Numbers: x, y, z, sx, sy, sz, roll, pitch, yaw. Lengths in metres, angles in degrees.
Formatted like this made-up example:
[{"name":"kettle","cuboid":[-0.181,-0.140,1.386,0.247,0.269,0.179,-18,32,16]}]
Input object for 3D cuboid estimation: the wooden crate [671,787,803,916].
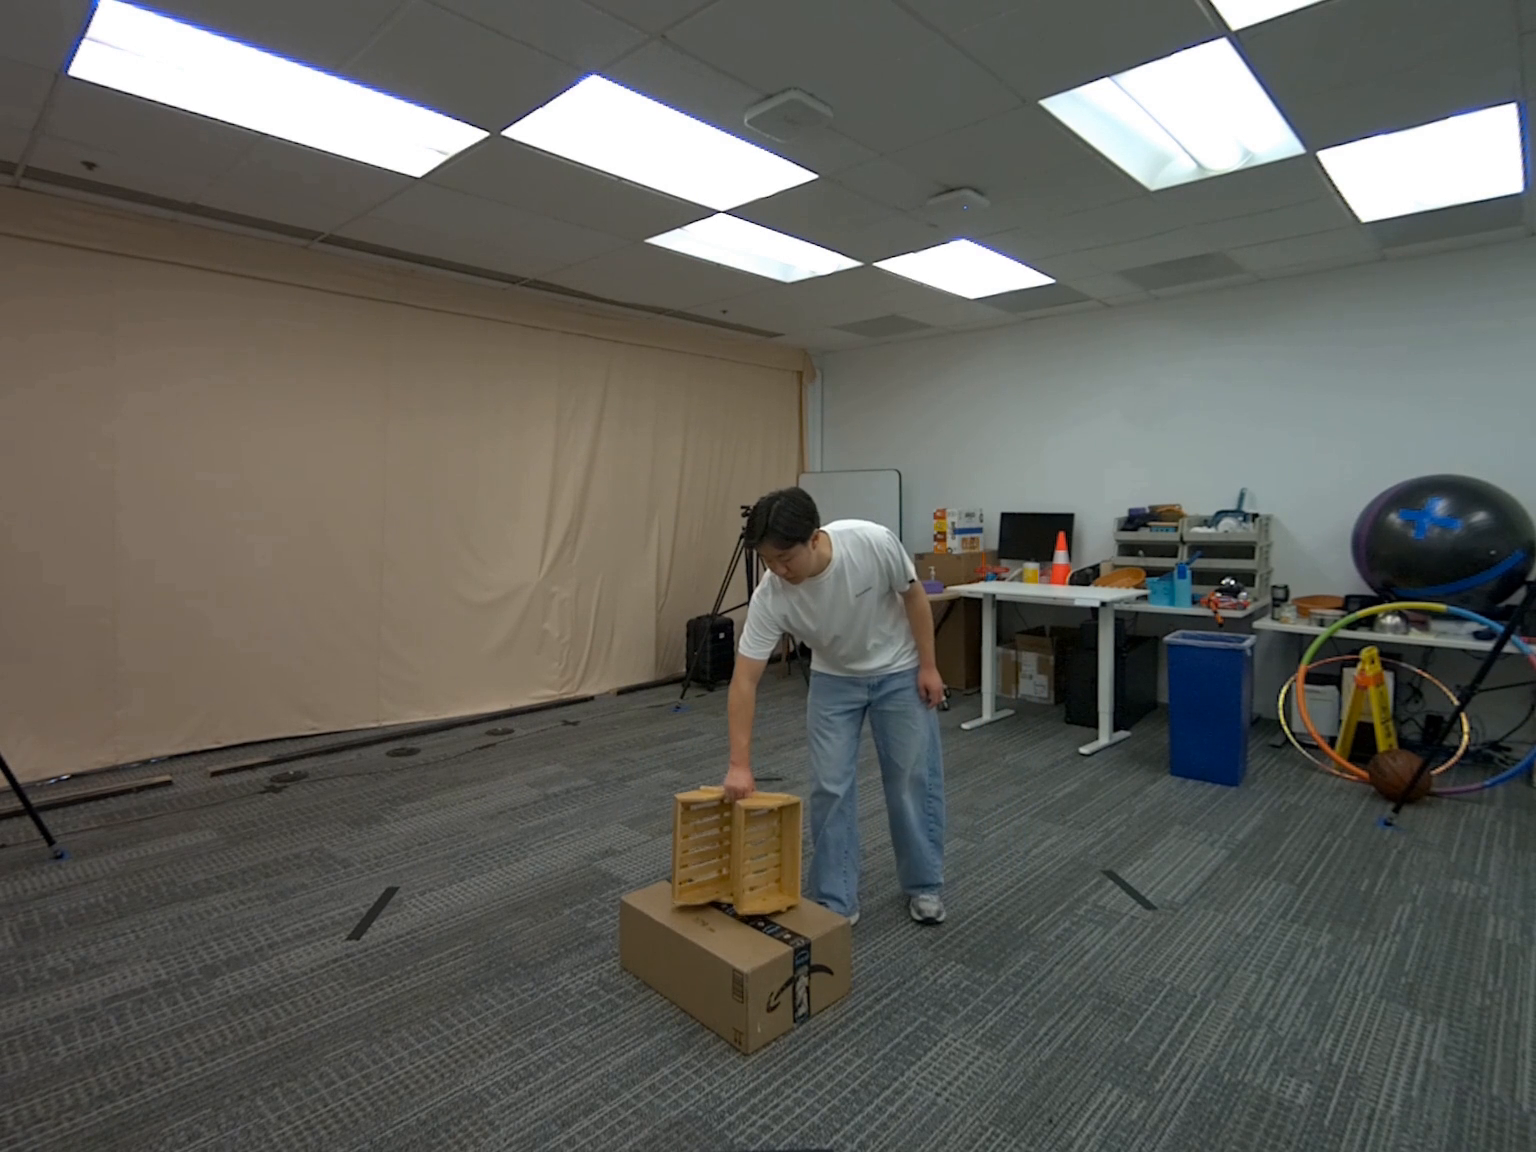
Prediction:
[{"name":"wooden crate","cuboid":[-0.089,0.790,2.475,0.292,0.325,0.282,4,-3,-43]}]
